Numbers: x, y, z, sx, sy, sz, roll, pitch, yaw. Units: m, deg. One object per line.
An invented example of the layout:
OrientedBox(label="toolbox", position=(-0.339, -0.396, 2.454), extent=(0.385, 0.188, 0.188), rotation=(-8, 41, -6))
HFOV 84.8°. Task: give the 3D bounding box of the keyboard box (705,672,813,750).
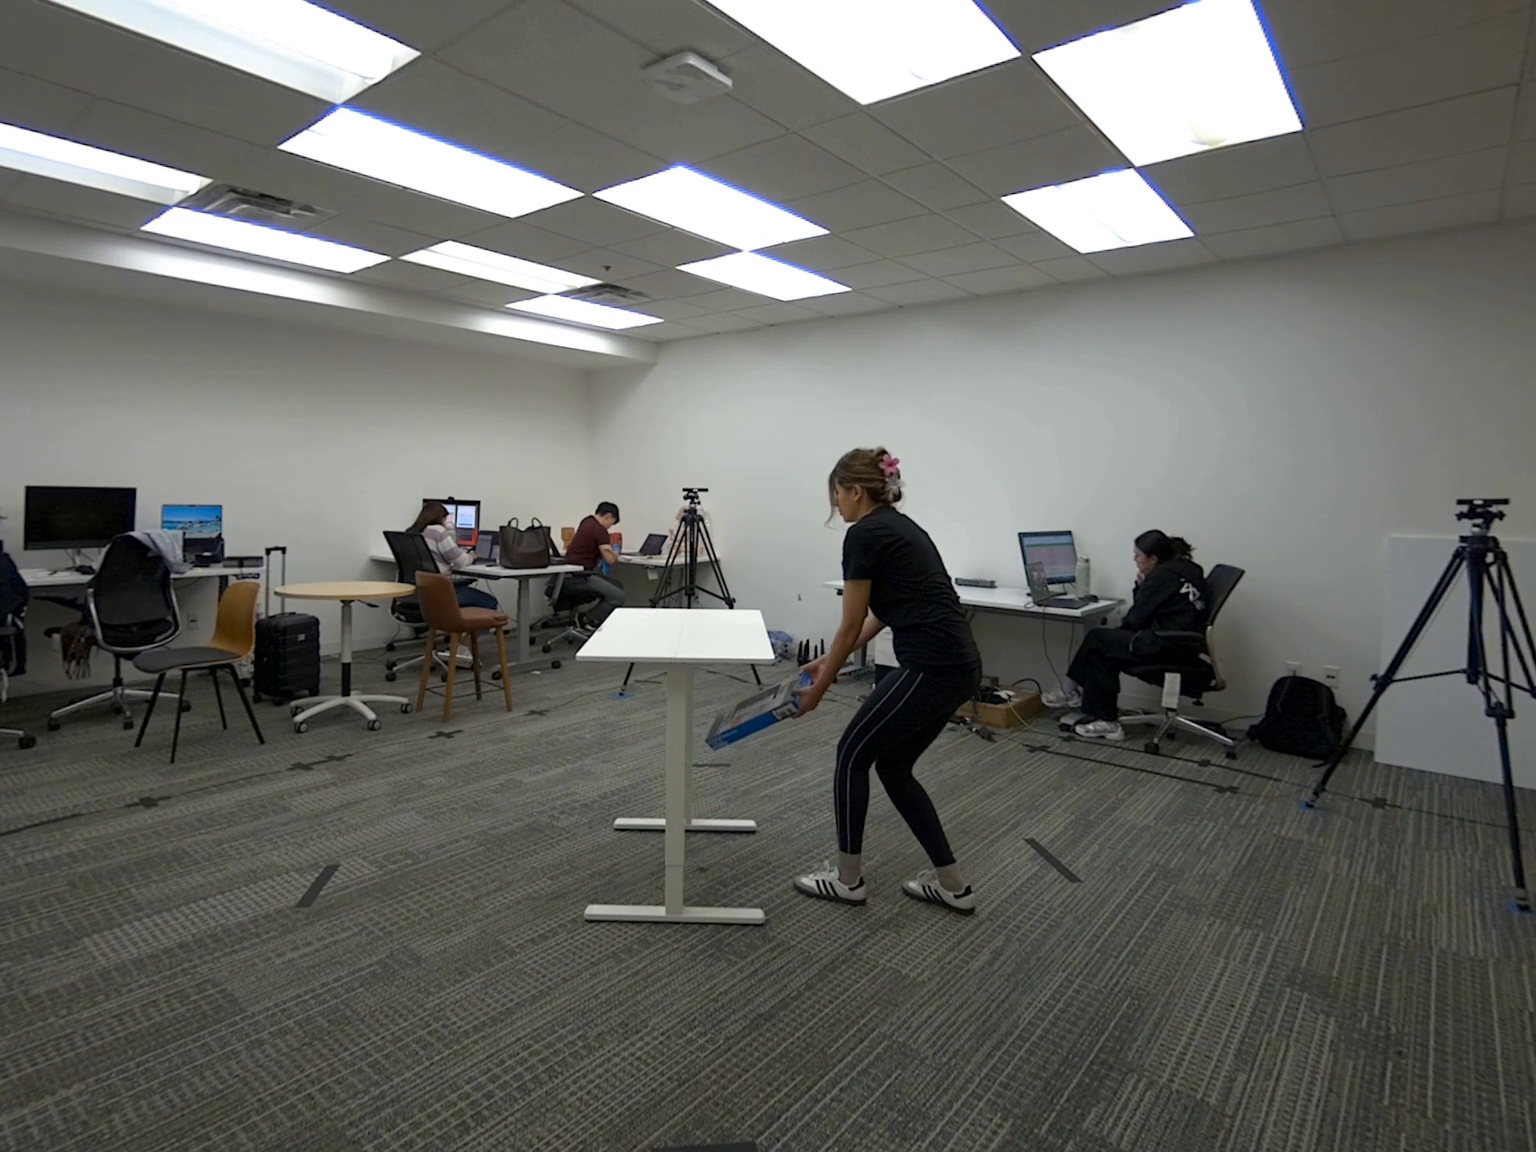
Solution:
OrientedBox(label="keyboard box", position=(-0.048, 0.501, 3.136), extent=(0.442, 0.058, 0.177), rotation=(-30, 18, 32))
